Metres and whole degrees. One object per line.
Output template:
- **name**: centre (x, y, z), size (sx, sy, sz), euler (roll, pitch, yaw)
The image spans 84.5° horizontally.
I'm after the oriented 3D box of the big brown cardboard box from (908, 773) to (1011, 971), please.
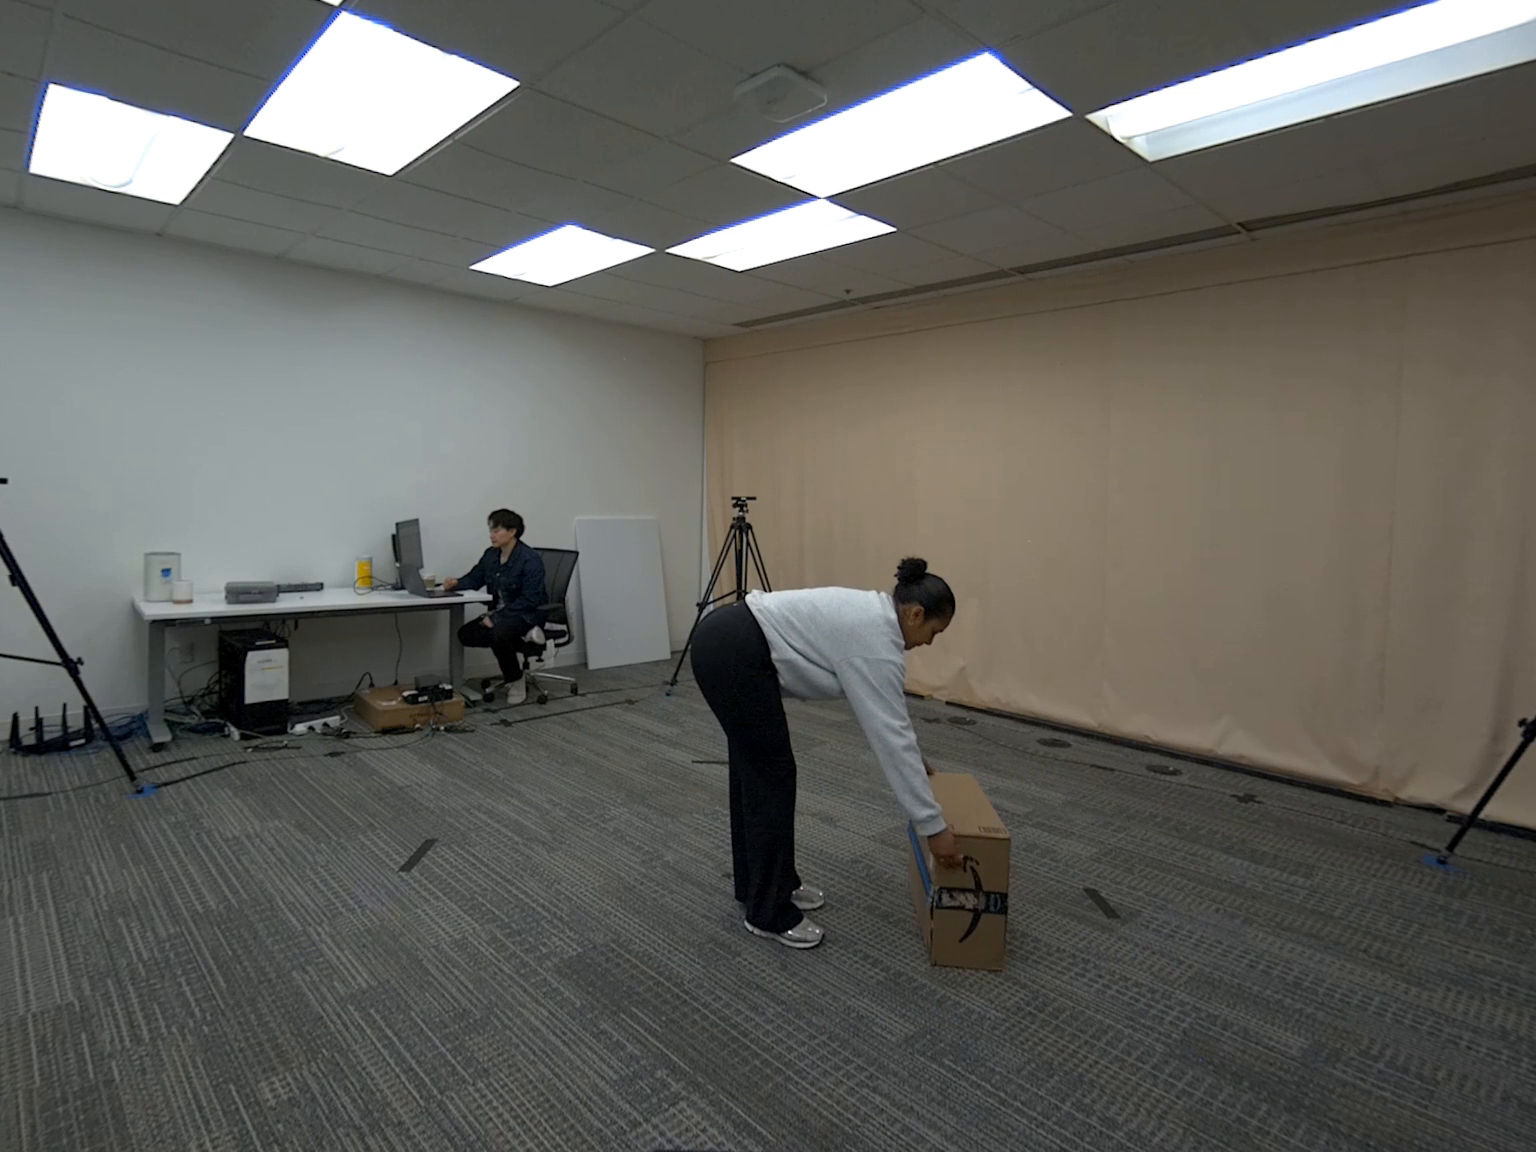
- **big brown cardboard box**: centre (0.612, 0.947, 2.782), size (0.234, 0.416, 0.588), euler (3, 4, 4)
